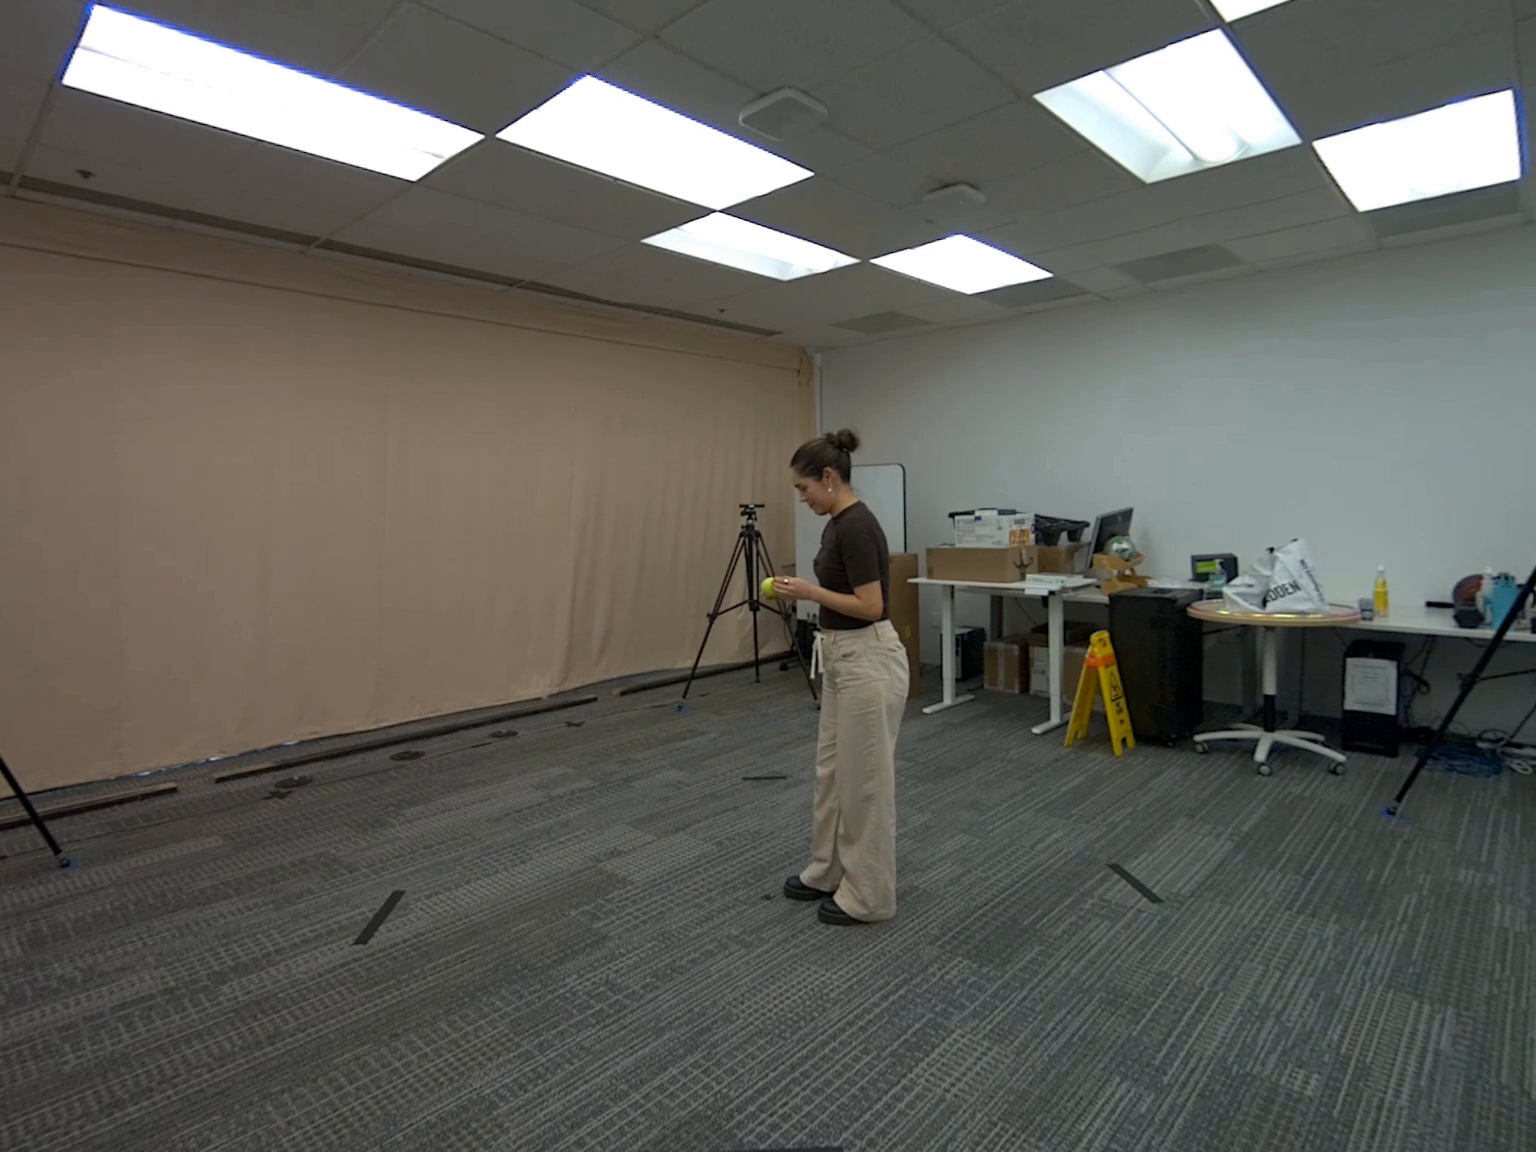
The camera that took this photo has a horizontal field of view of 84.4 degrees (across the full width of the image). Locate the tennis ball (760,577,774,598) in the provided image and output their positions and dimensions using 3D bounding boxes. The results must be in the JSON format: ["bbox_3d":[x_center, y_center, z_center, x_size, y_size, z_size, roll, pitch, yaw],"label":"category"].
[{"bbox_3d":[0.012,0.034,2.849,0.066,0.066,0.067,-1,4,-2],"label":"tennis ball"}]
